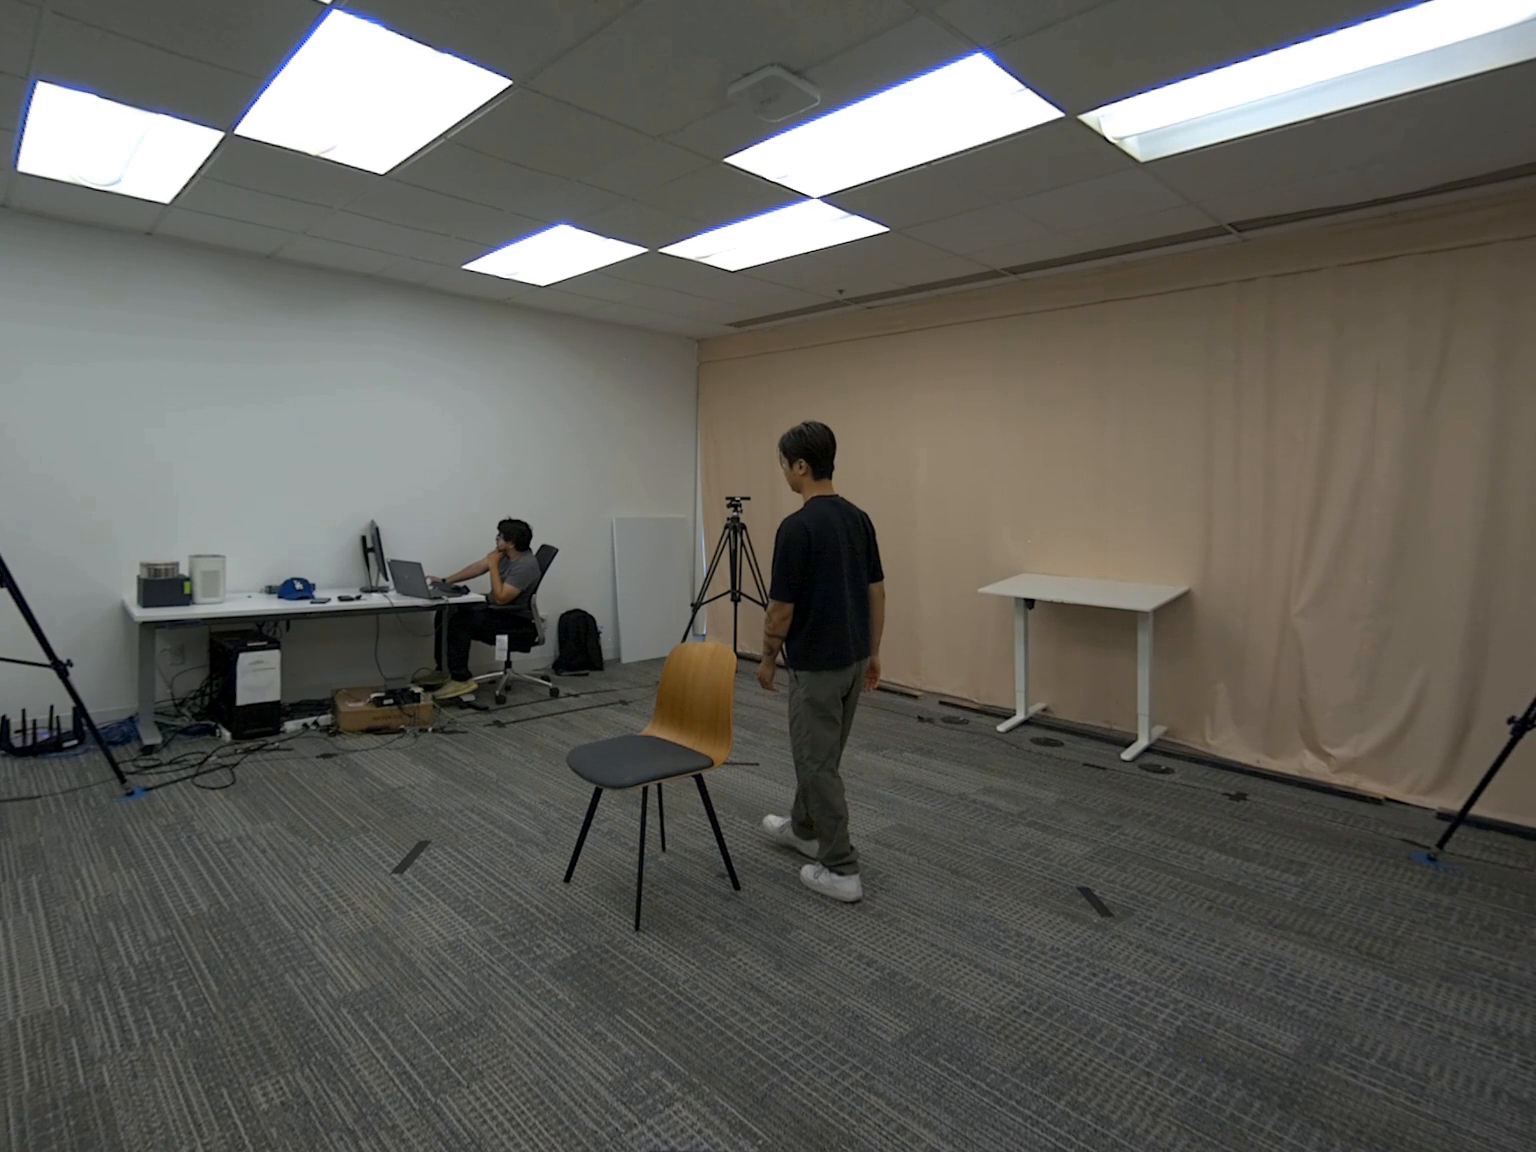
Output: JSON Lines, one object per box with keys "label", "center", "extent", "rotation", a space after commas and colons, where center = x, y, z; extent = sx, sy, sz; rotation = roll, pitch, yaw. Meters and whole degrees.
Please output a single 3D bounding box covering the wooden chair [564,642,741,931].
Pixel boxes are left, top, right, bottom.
{"label": "wooden chair", "center": [-0.414, 0.682, 2.968], "extent": [0.510, 0.877, 0.490], "rotation": [4, 1, -43]}
